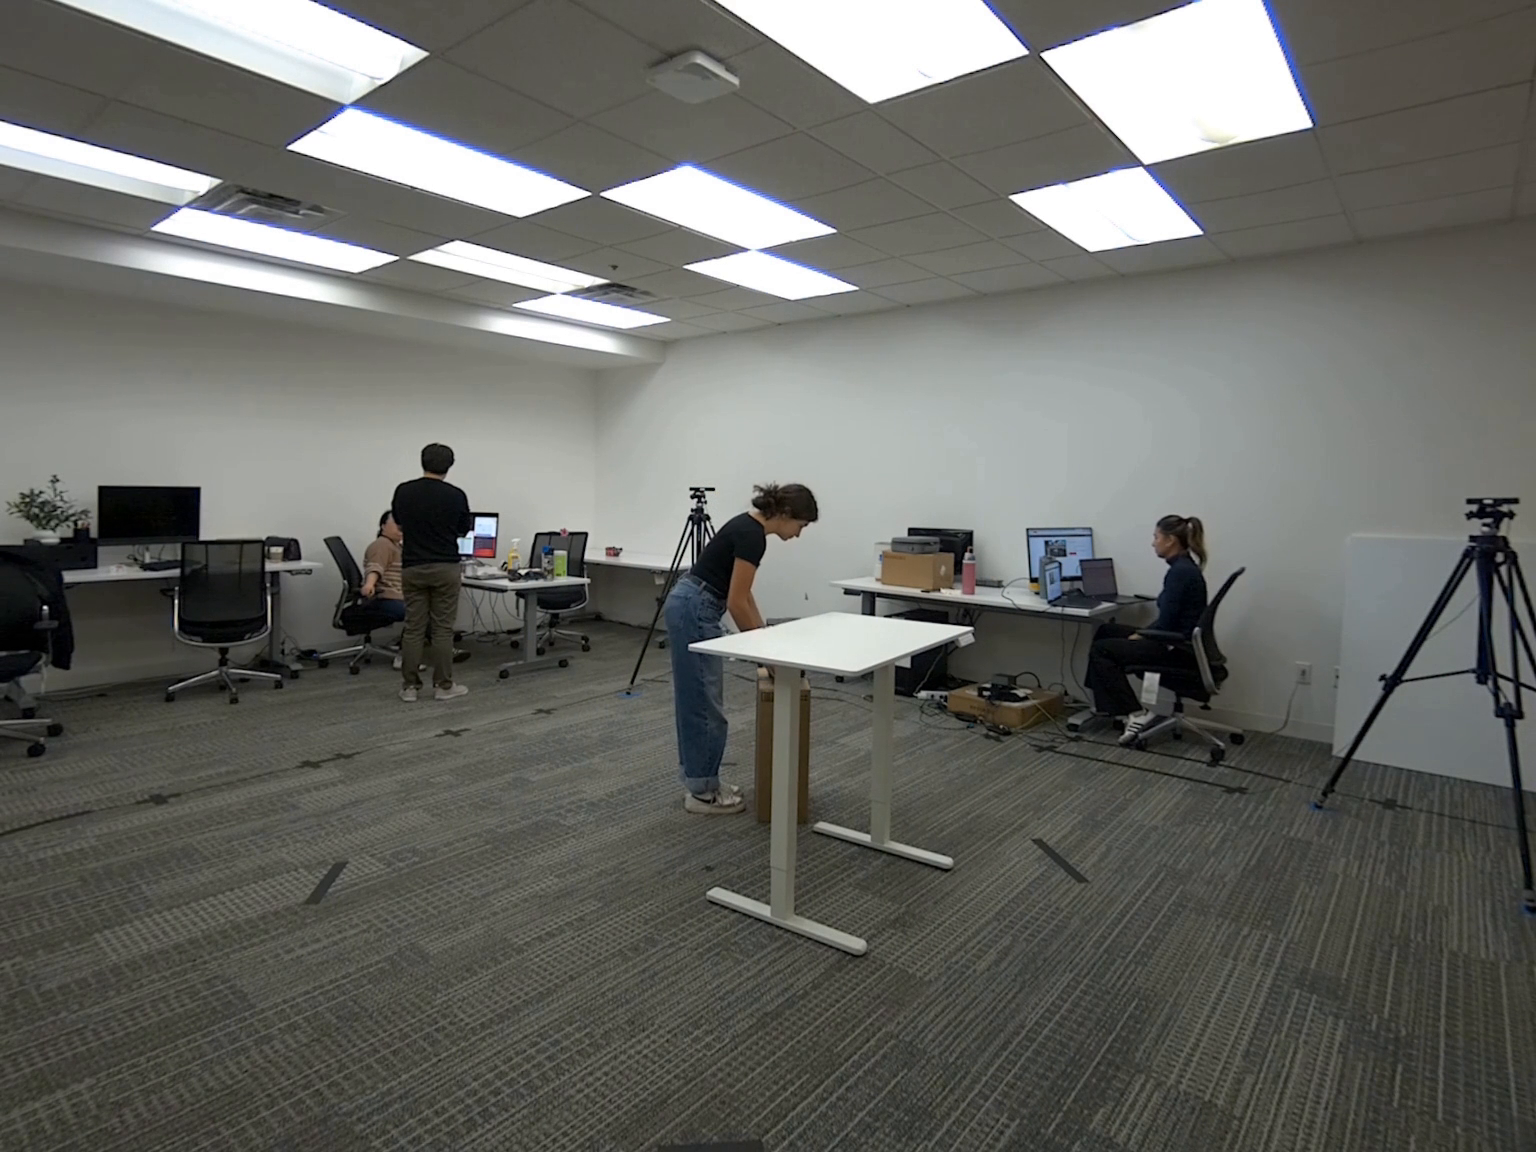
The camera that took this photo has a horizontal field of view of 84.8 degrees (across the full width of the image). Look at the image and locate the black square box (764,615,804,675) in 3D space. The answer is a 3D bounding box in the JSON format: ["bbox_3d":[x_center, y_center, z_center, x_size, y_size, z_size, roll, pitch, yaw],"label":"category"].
[{"bbox_3d":[0.065,0.296,3.697,0.156,0.228,0.217,1,1,-2],"label":"black square box"}]
